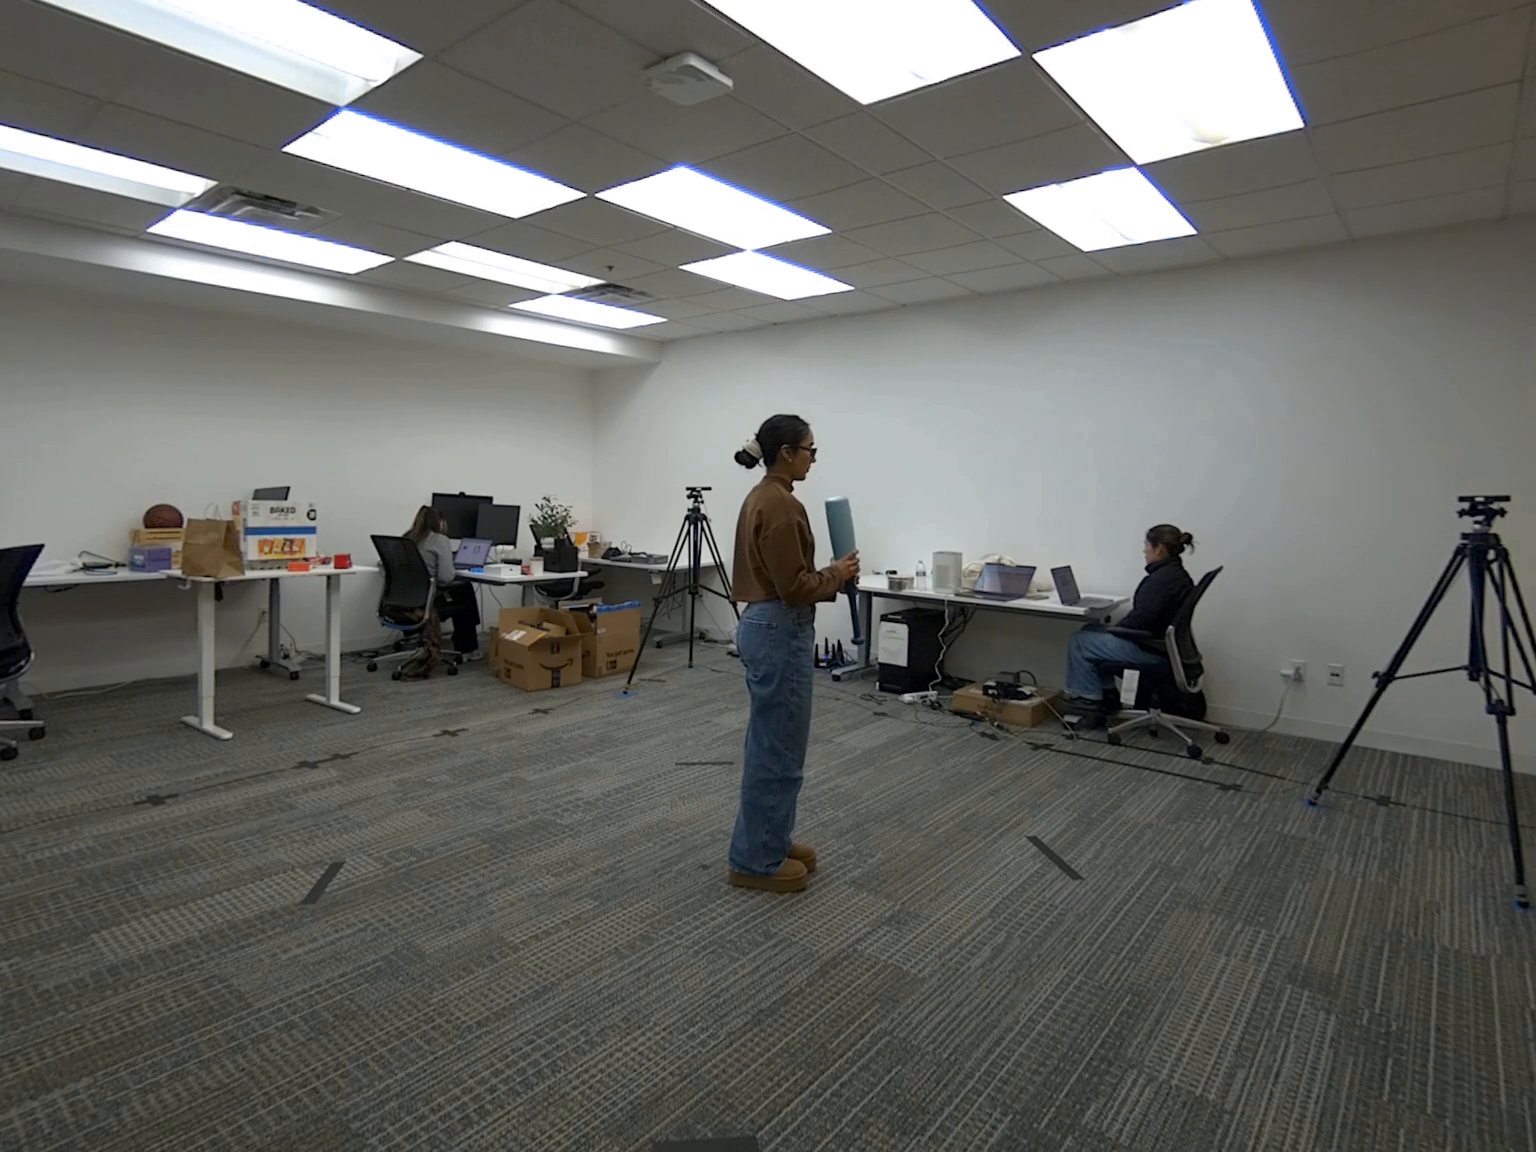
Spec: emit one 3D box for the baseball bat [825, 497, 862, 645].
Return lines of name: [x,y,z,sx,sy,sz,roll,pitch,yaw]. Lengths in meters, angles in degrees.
baseball bat: [0.276,-0.017,3.053,0.089,0.537,0.090,-9,10,0]
